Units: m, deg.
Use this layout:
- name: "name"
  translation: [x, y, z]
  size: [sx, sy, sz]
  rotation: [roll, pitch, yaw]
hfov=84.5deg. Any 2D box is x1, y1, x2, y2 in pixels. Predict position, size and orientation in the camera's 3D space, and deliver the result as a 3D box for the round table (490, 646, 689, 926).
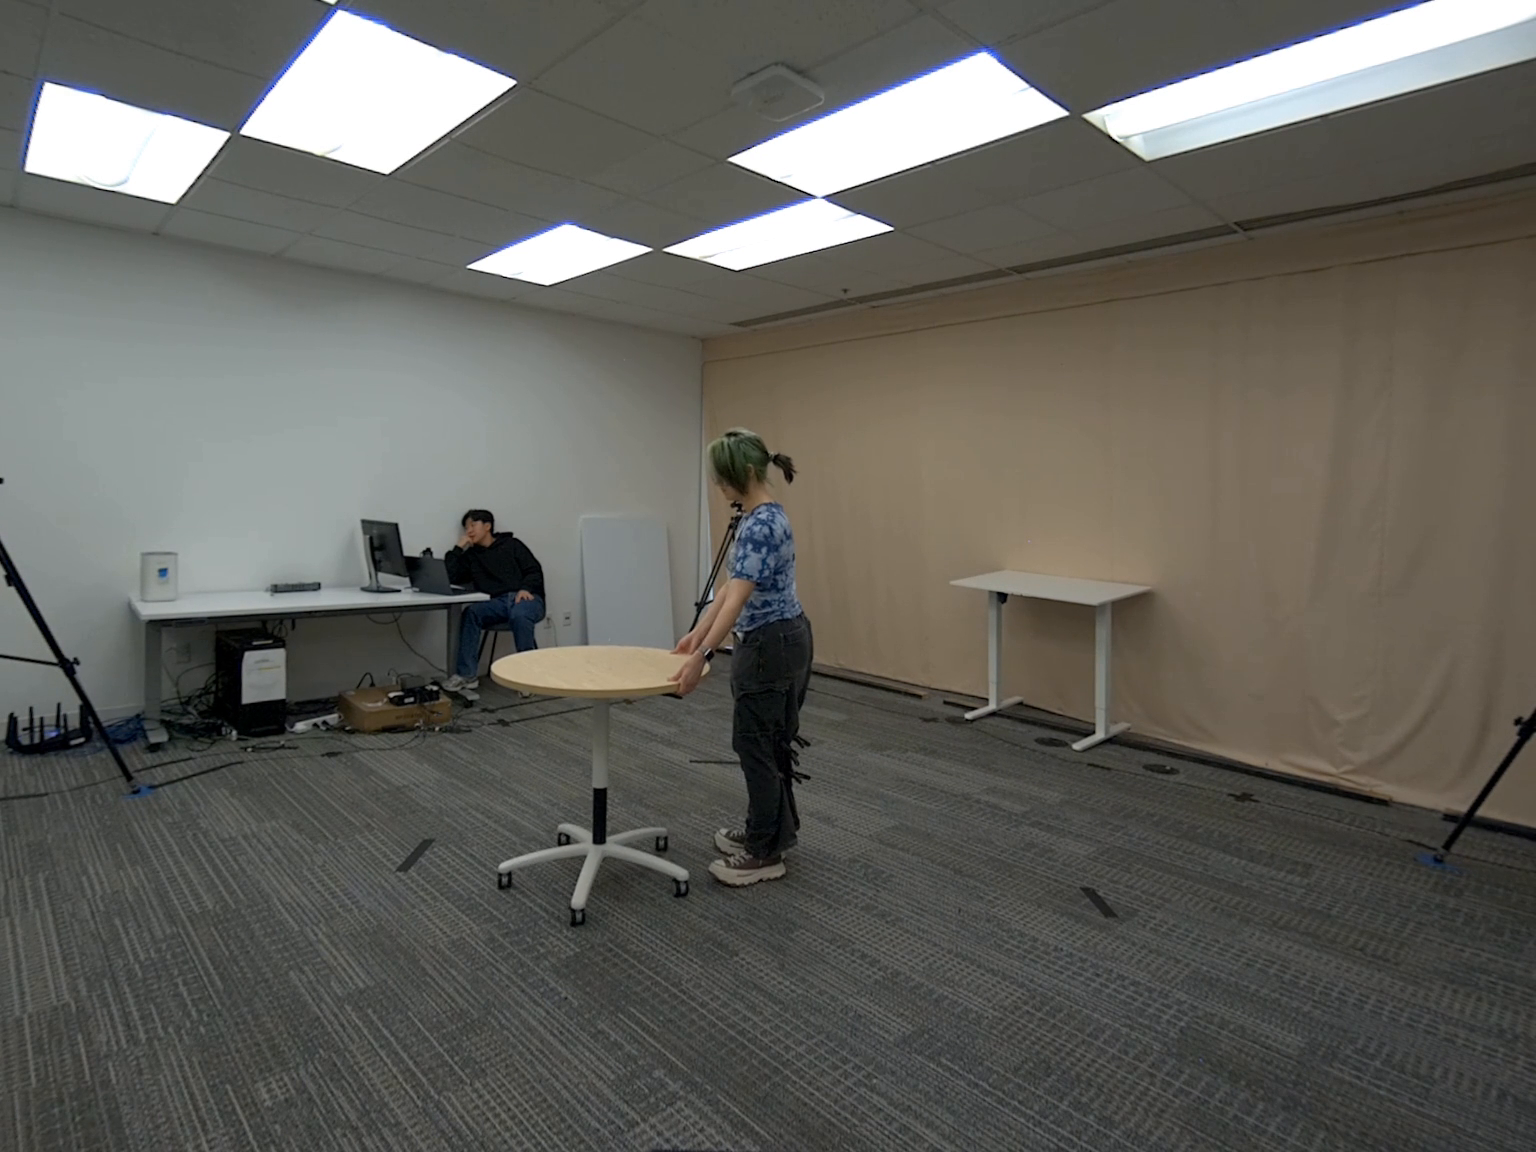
- name: "round table"
  translation: [-0.604, 0.713, 3.015]
  size: [0.763, 0.792, 0.767]
  rotation: [1, 4, -1]
